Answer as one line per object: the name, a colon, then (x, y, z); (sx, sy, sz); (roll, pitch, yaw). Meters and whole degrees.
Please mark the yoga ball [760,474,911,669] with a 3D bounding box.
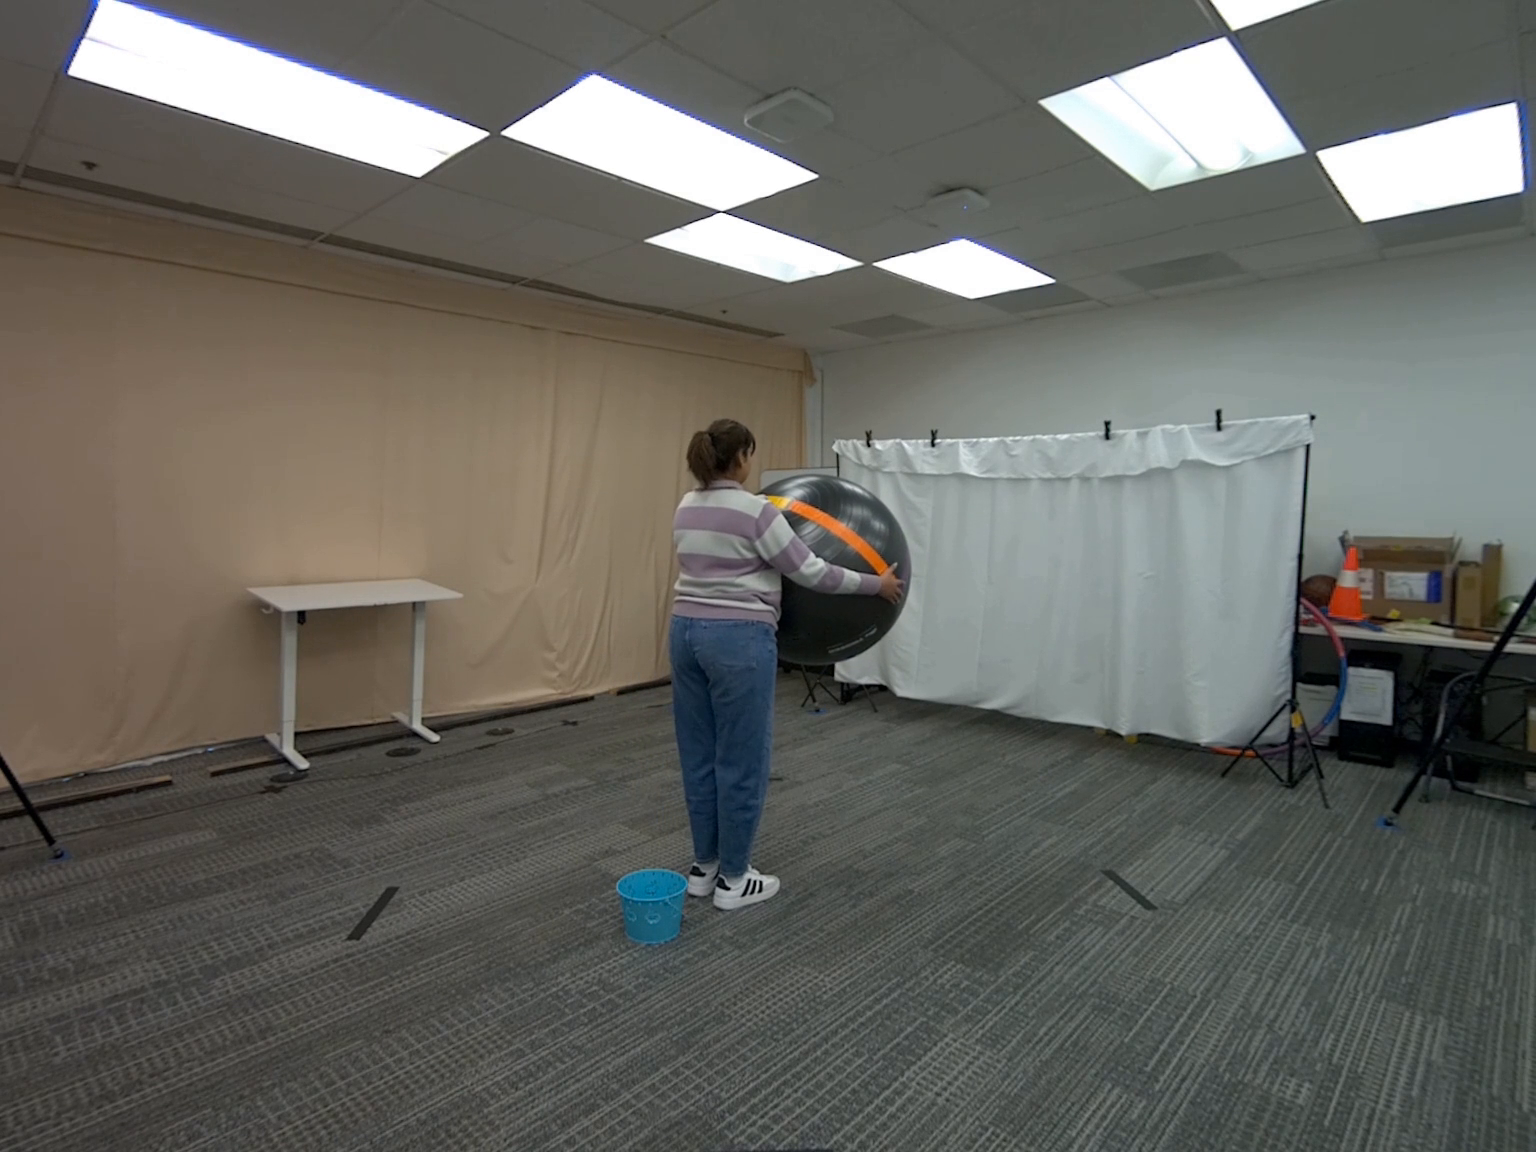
yoga ball: (0.191, -0.024, 3.377); (0.757, 0.756, 0.761); (0, 4, -2)
